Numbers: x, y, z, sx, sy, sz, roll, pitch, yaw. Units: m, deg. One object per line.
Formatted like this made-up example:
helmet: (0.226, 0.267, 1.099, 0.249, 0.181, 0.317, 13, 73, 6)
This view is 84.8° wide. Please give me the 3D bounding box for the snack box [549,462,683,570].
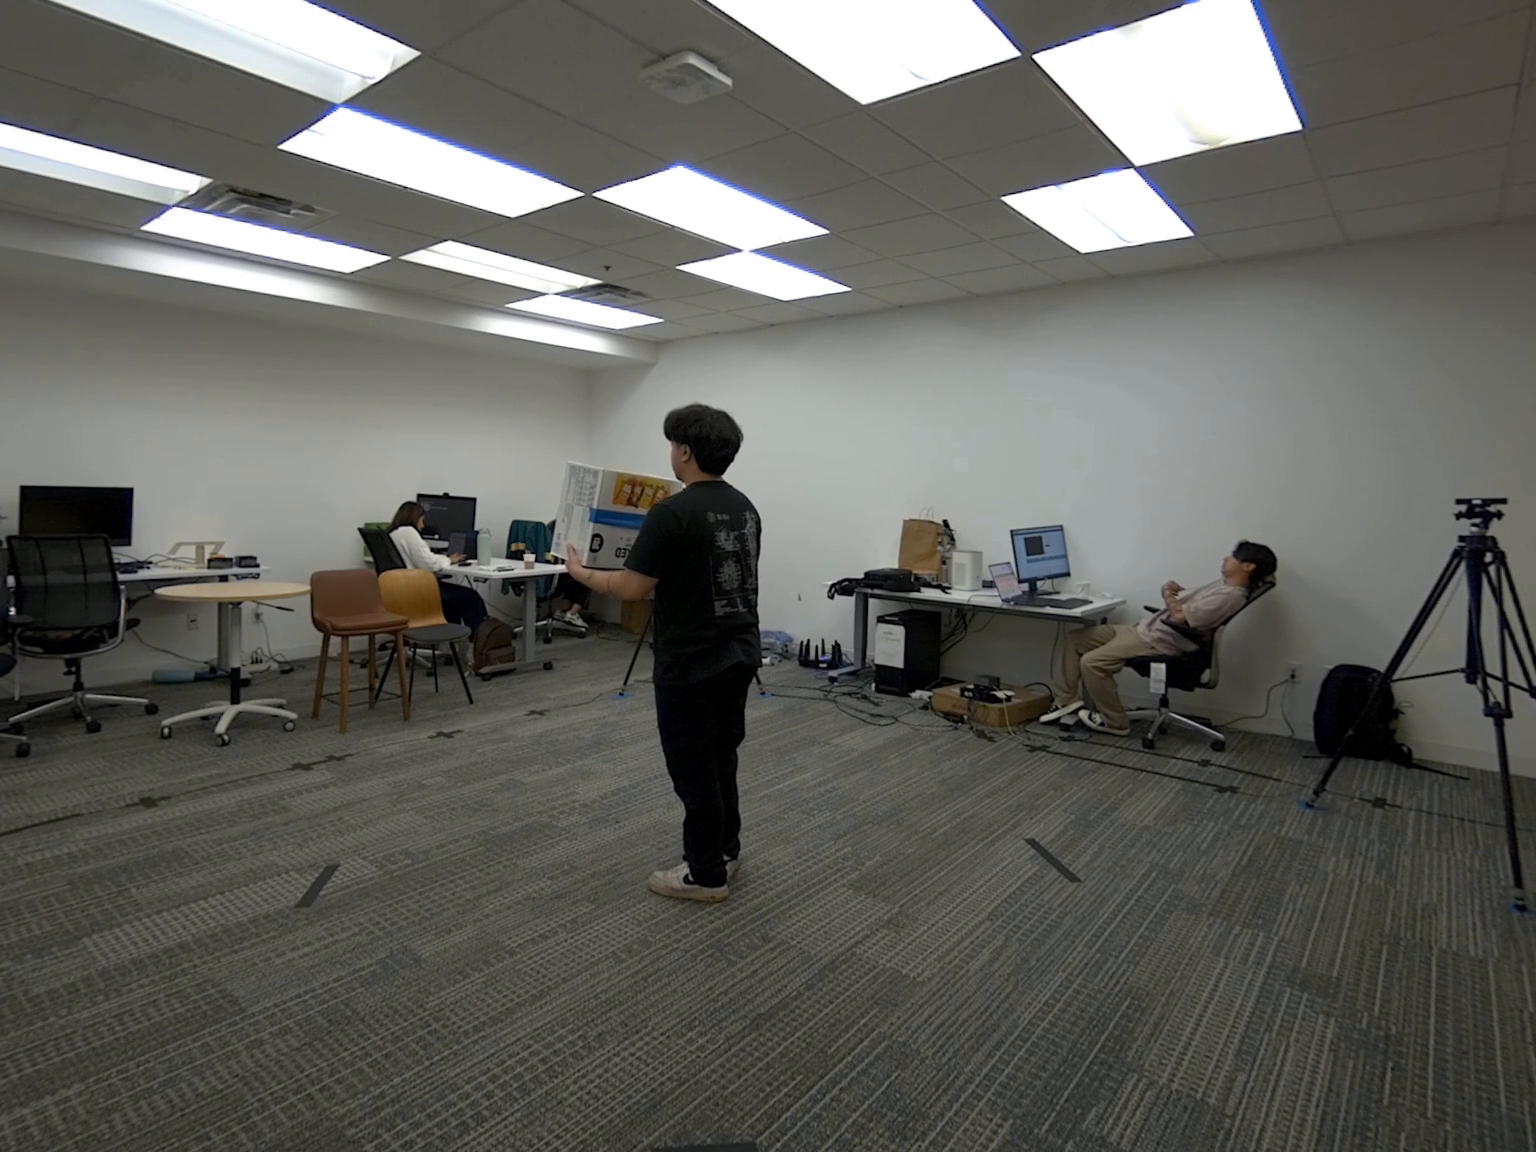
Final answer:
snack box: (-0.552, -0.211, 3.095, 0.213, 0.339, 0.392, 15, 6, 37)
